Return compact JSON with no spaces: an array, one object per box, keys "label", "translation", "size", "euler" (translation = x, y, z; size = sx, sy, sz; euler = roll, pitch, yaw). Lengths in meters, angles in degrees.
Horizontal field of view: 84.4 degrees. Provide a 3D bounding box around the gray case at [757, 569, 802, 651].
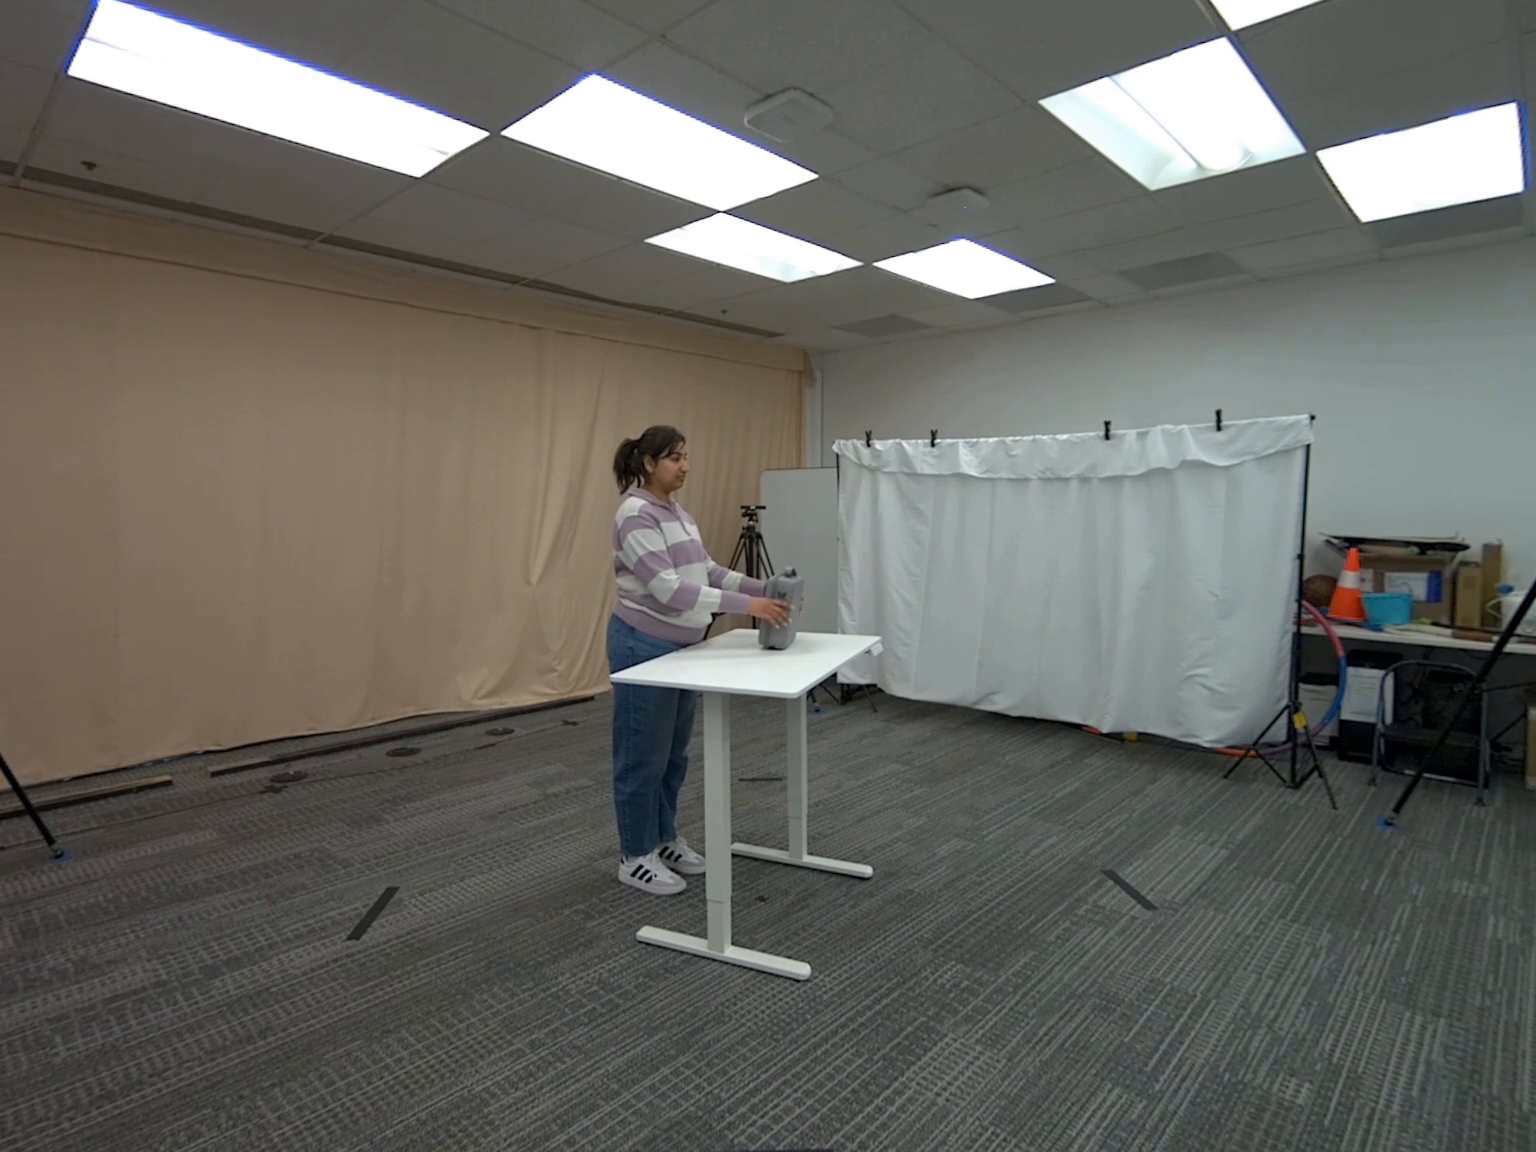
[{"label":"gray case","translation":[0.057,0.123,3.054],"size":[0.106,0.260,0.254],"euler":[9,5,9]}]
